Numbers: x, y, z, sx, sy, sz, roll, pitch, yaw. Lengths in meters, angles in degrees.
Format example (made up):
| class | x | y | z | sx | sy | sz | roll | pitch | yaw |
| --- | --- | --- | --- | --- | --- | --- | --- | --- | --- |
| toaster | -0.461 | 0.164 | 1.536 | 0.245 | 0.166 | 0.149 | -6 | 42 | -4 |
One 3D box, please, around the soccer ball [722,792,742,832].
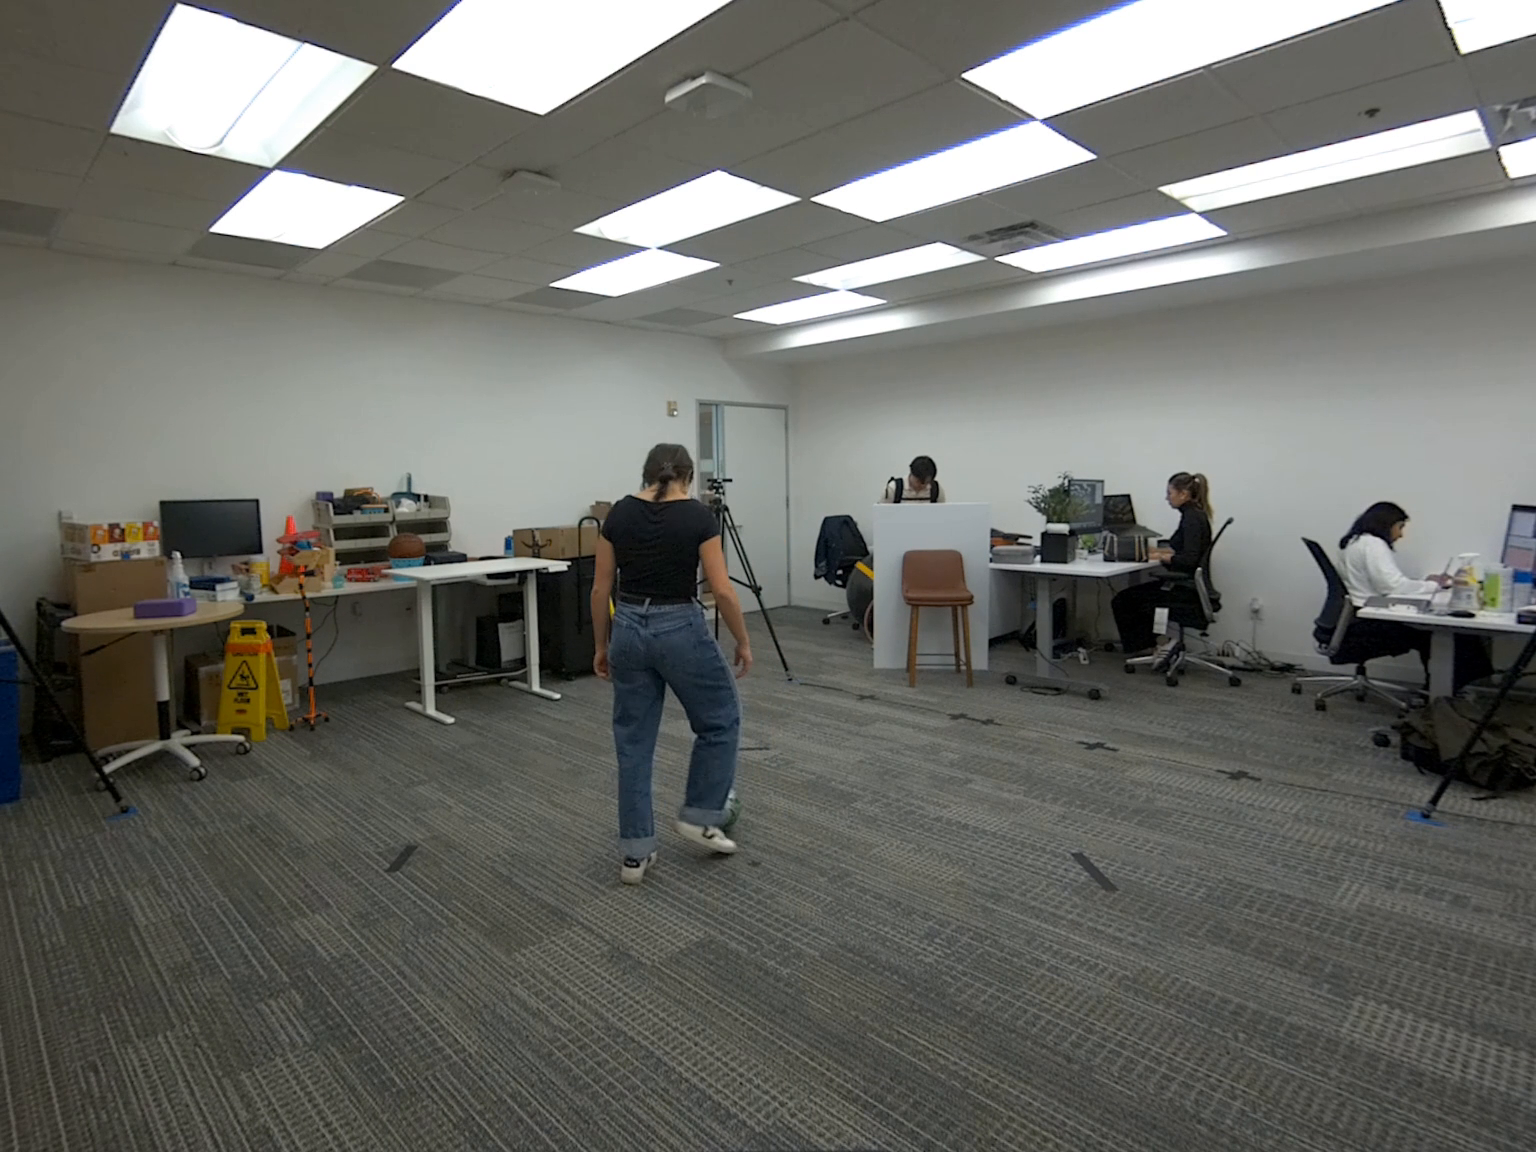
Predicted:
| class | x | y | z | sx | sy | sz | roll | pitch | yaw |
| --- | --- | --- | --- | --- | --- | --- | --- | --- | --- |
| soccer ball | -0.199 | 0.921 | 3.400 | 0.187 | 0.187 | 0.188 | -1 | 5 | -2 |
